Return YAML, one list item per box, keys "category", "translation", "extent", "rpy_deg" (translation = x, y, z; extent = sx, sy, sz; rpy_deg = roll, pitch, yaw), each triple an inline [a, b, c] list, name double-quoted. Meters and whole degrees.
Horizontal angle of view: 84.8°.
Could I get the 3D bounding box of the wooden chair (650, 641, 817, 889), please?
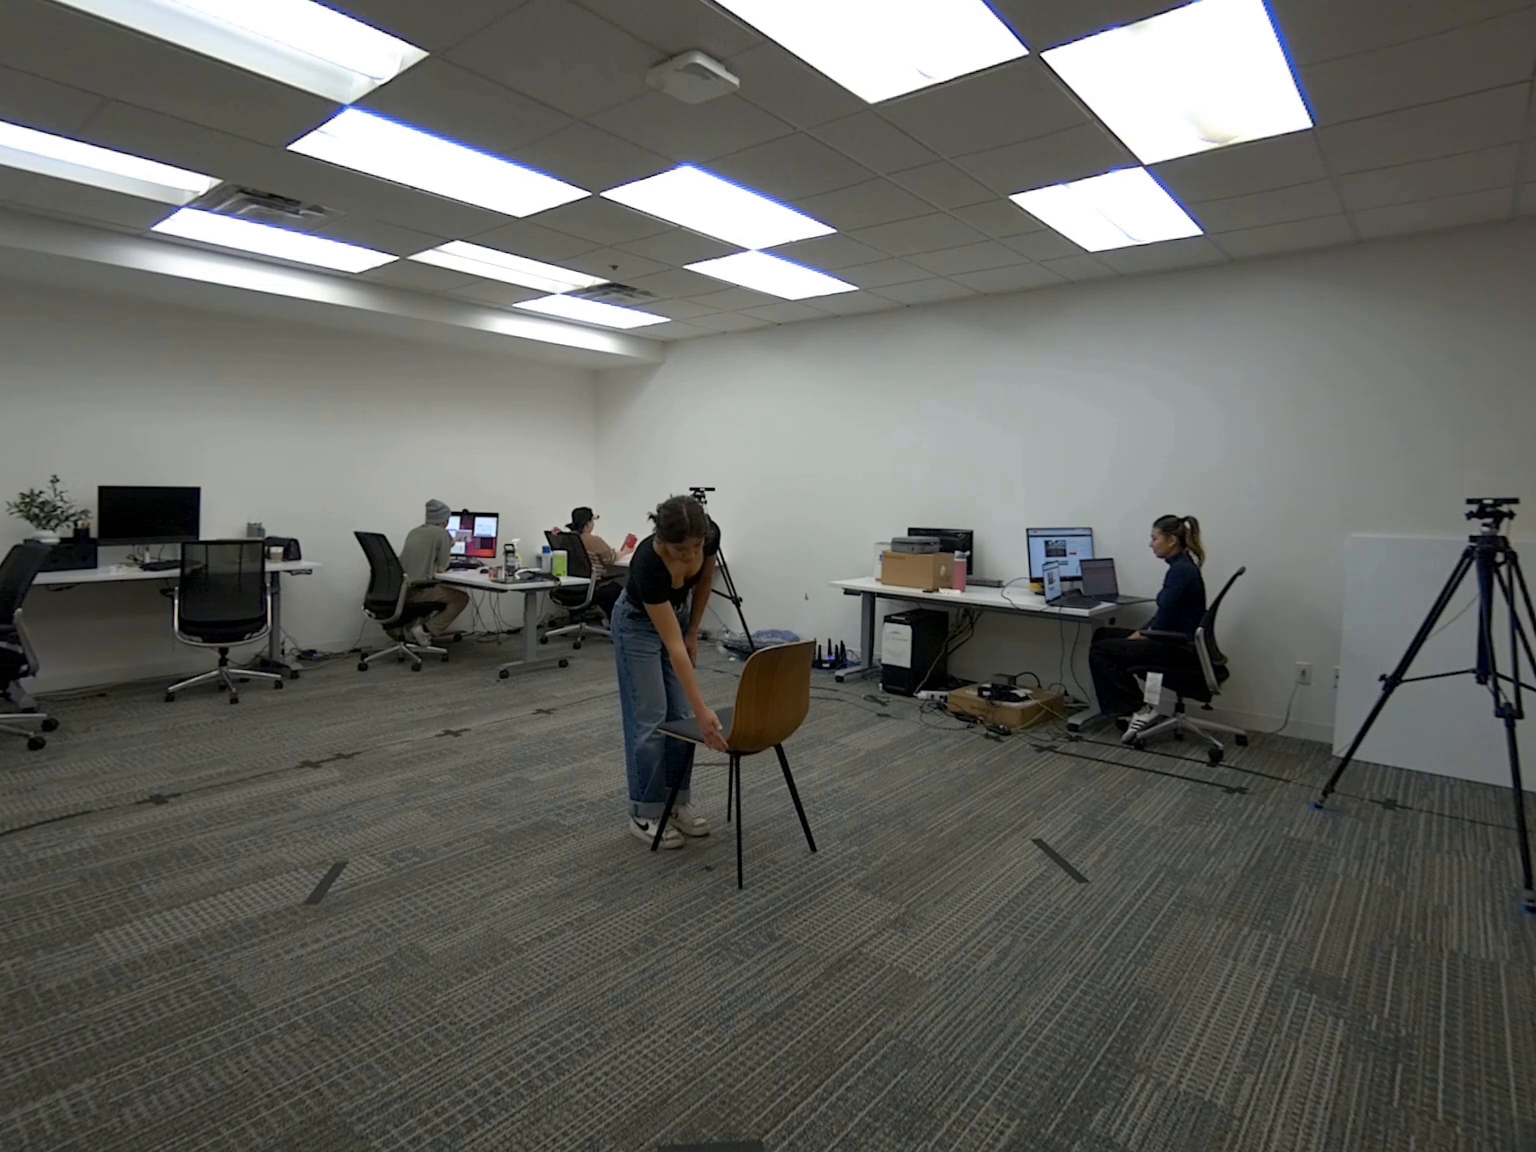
- category: "wooden chair"
  translation: [-0.133, 0.629, 3.239]
  extent: [0.542, 0.873, 0.464]
  rpy_deg: [9, 8, 40]
